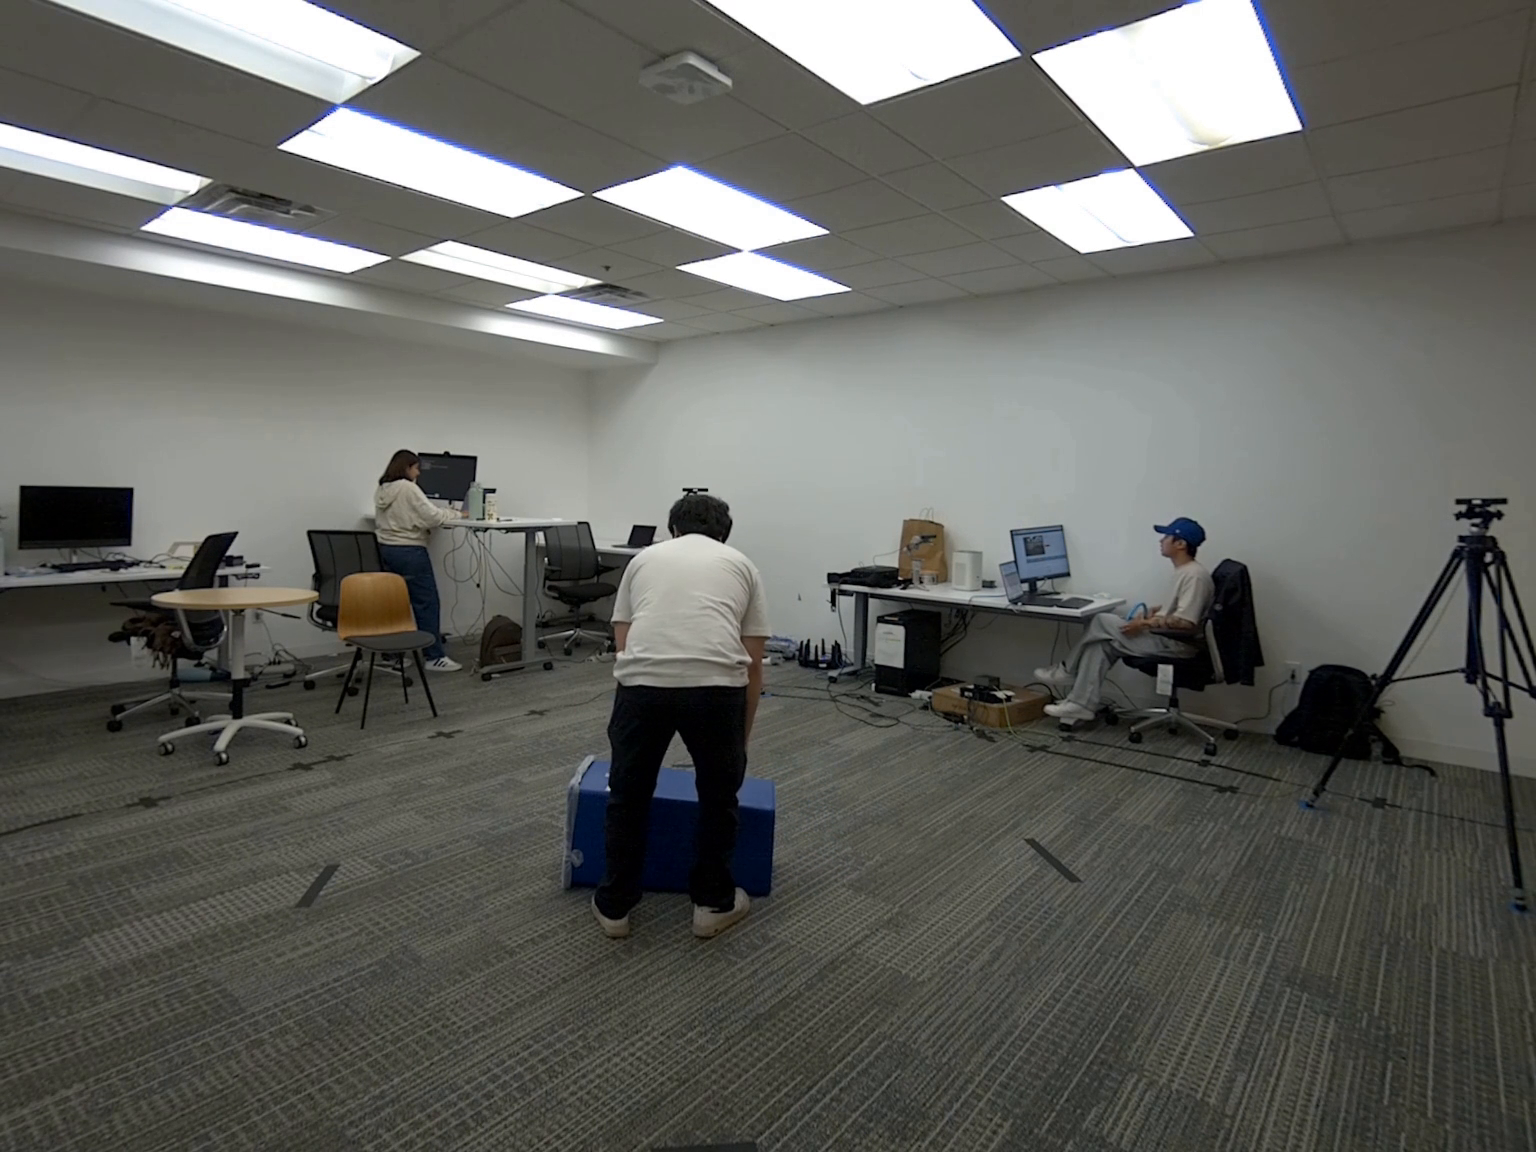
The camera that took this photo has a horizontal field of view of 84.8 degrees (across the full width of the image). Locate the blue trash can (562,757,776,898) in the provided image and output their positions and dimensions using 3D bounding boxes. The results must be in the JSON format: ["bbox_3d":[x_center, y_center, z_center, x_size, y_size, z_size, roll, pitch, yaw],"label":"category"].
[{"bbox_3d":[-0.353,0.905,3.069,0.715,0.377,0.374,4,4,2],"label":"blue trash can"}]
